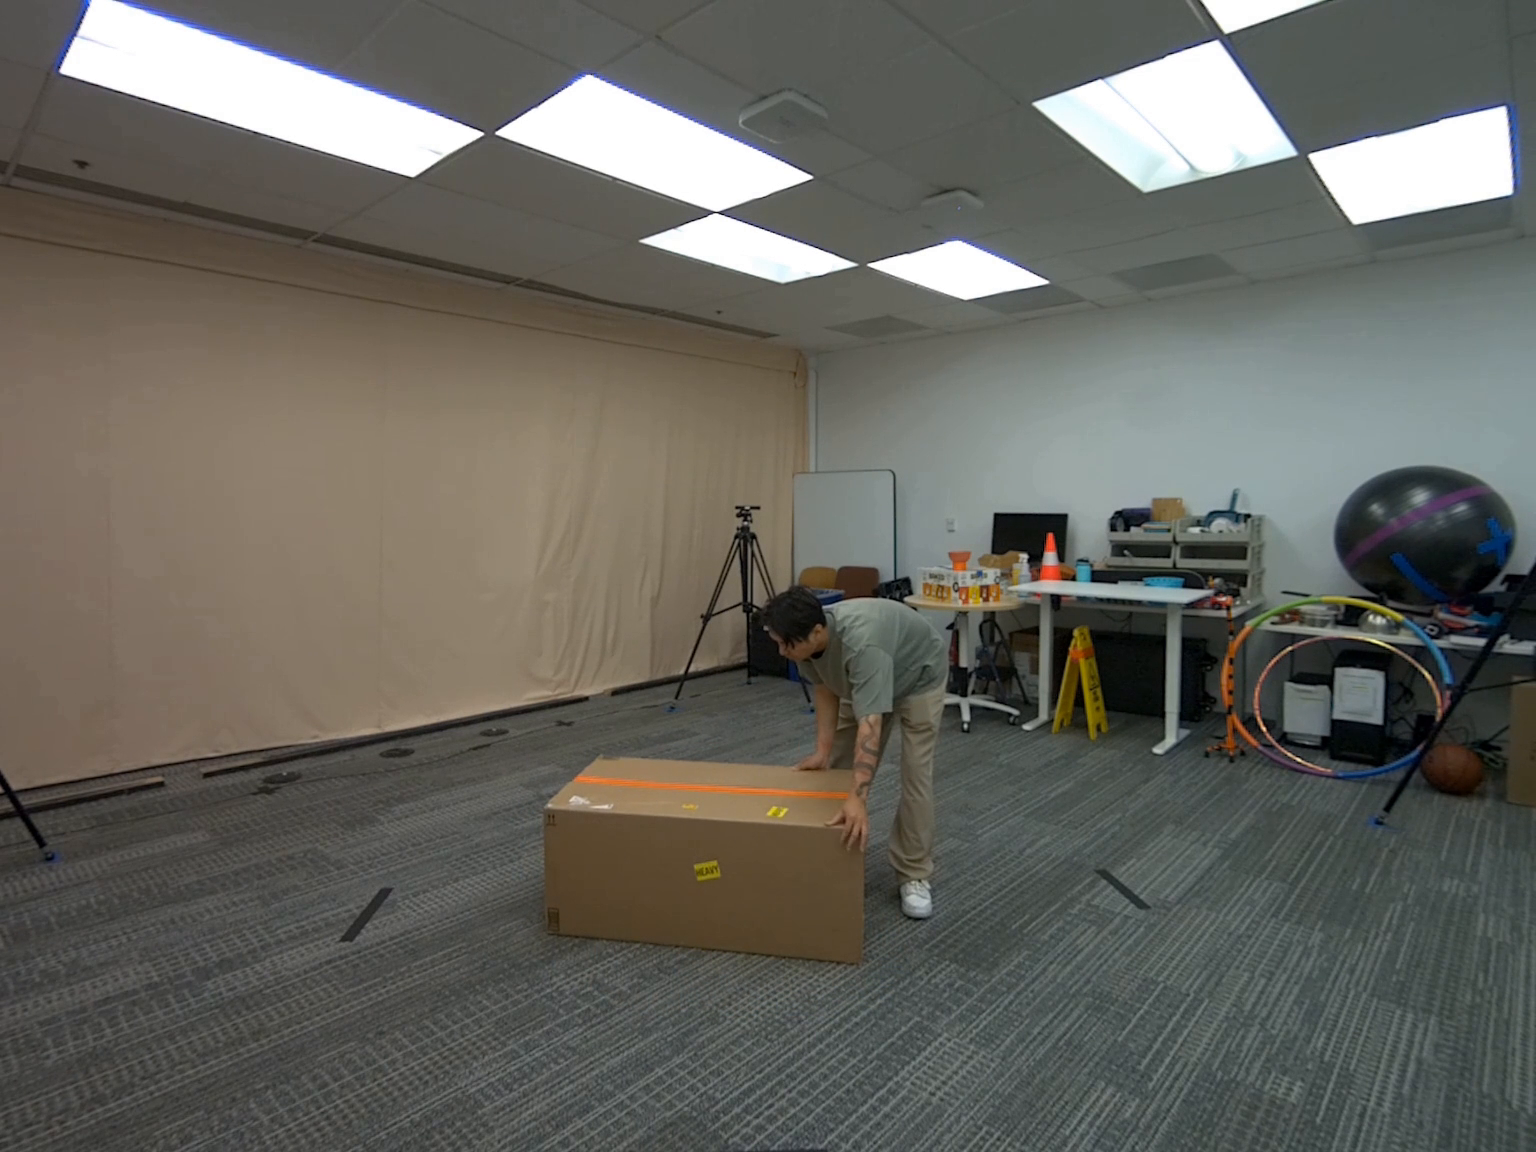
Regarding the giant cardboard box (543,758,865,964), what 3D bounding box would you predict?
[{"bbox_3d":[-0.189,0.936,2.909,1.038,0.425,0.572,1,3,10],"label":"giant cardboard box"}]
